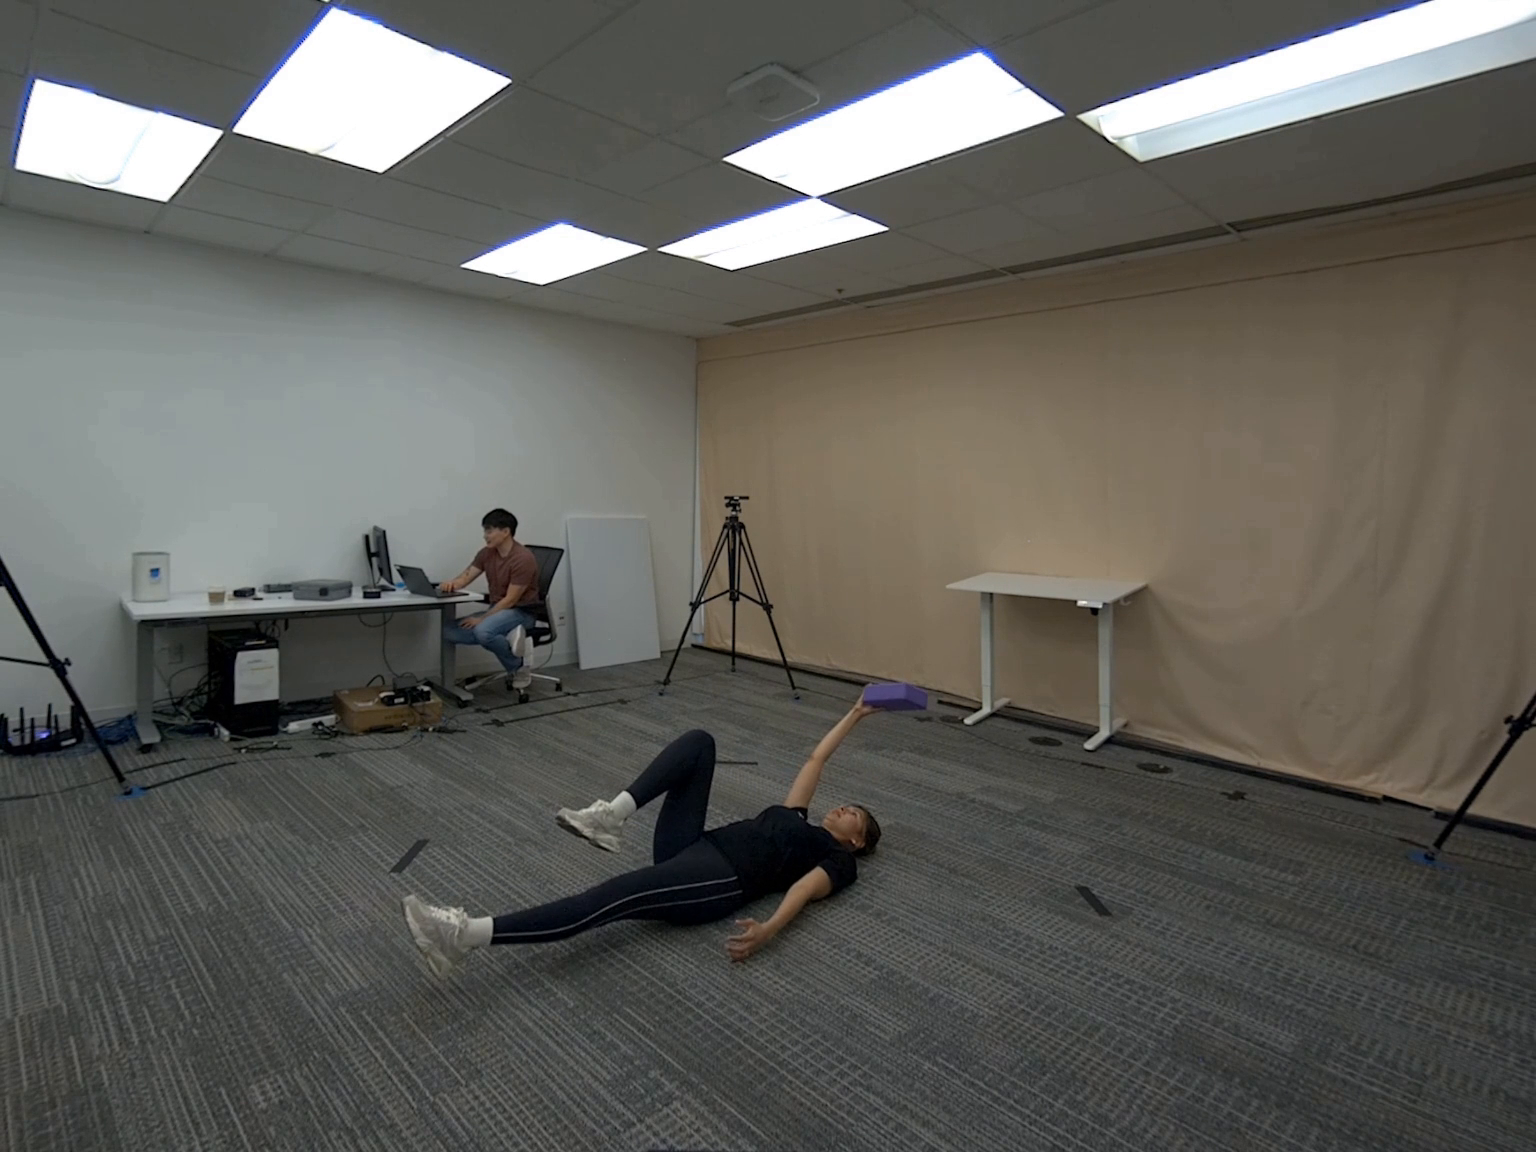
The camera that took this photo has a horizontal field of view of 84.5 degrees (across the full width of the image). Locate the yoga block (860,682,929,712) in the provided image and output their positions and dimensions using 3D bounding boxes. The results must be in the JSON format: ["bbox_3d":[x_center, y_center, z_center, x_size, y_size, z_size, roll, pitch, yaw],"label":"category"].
[{"bbox_3d":[0.506,0.492,3.441,0.145,0.077,0.232,22,-23,-28],"label":"yoga block"}]
